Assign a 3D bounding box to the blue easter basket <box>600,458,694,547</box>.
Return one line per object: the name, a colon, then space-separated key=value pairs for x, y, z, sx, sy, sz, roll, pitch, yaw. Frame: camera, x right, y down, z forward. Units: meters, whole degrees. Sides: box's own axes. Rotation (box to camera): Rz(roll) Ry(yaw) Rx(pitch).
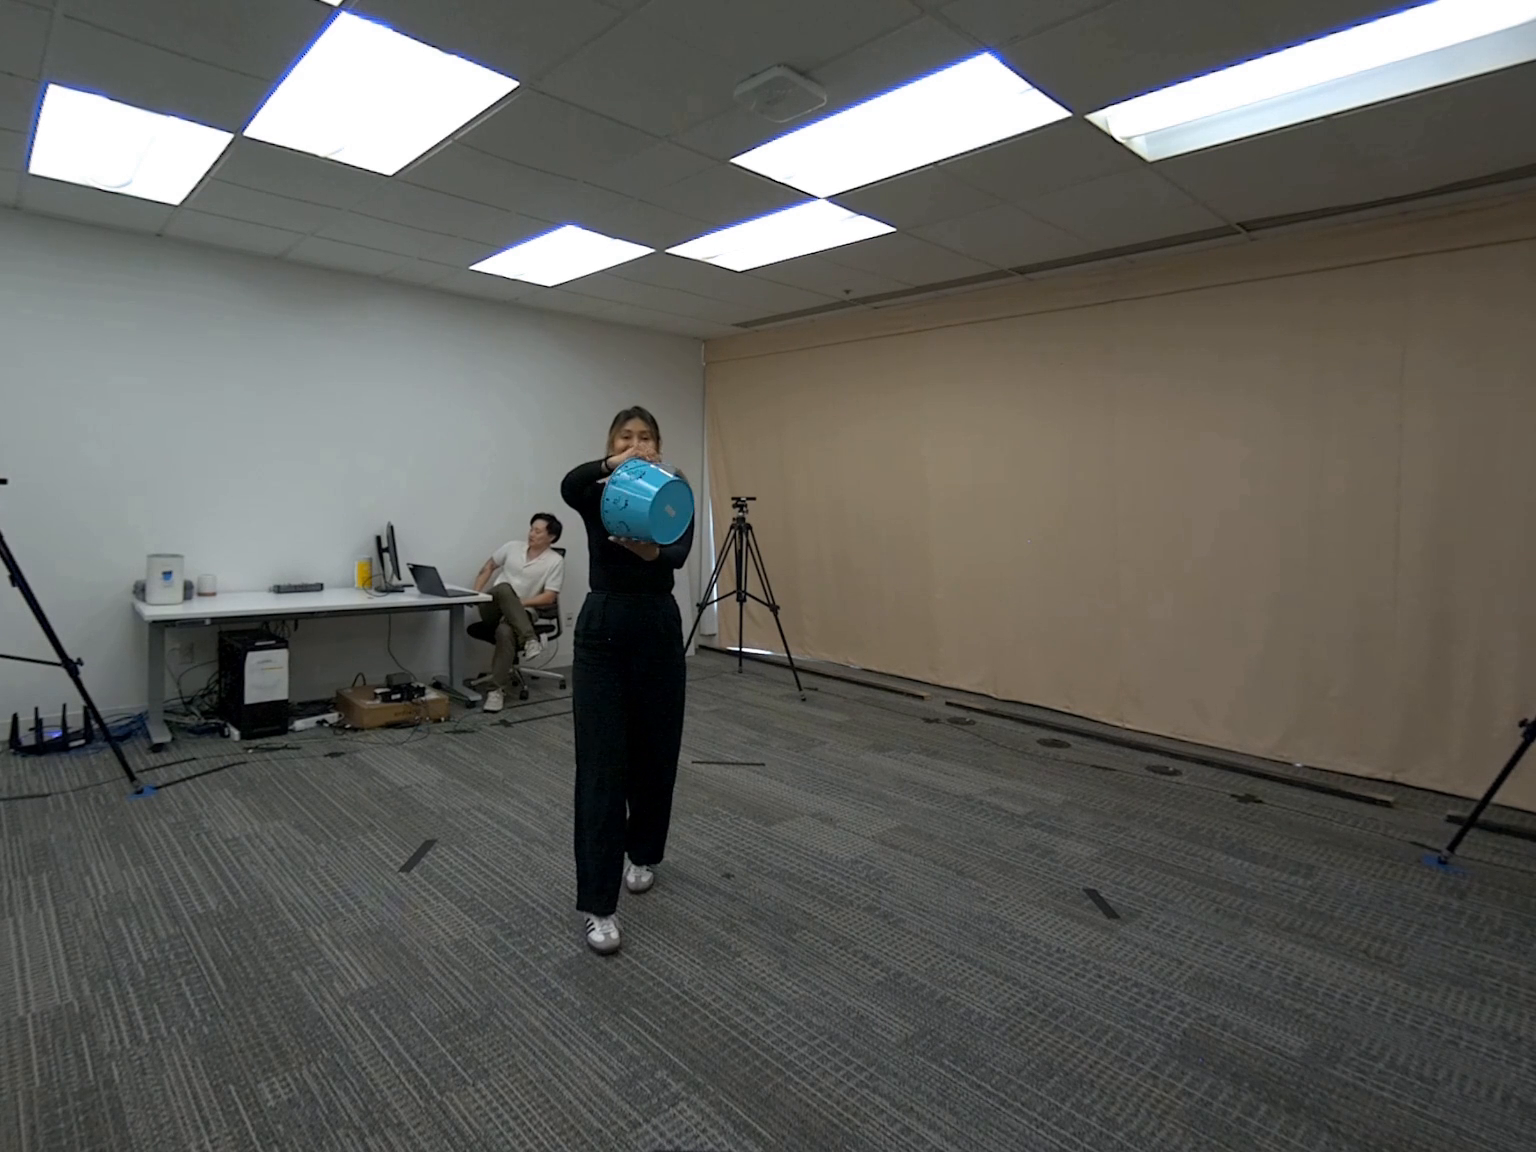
blue easter basket: x=-0.326 y=-0.196 z=2.291 sx=0.160 sy=0.242 sz=0.238 roll=19 pitch=14 yaw=36
